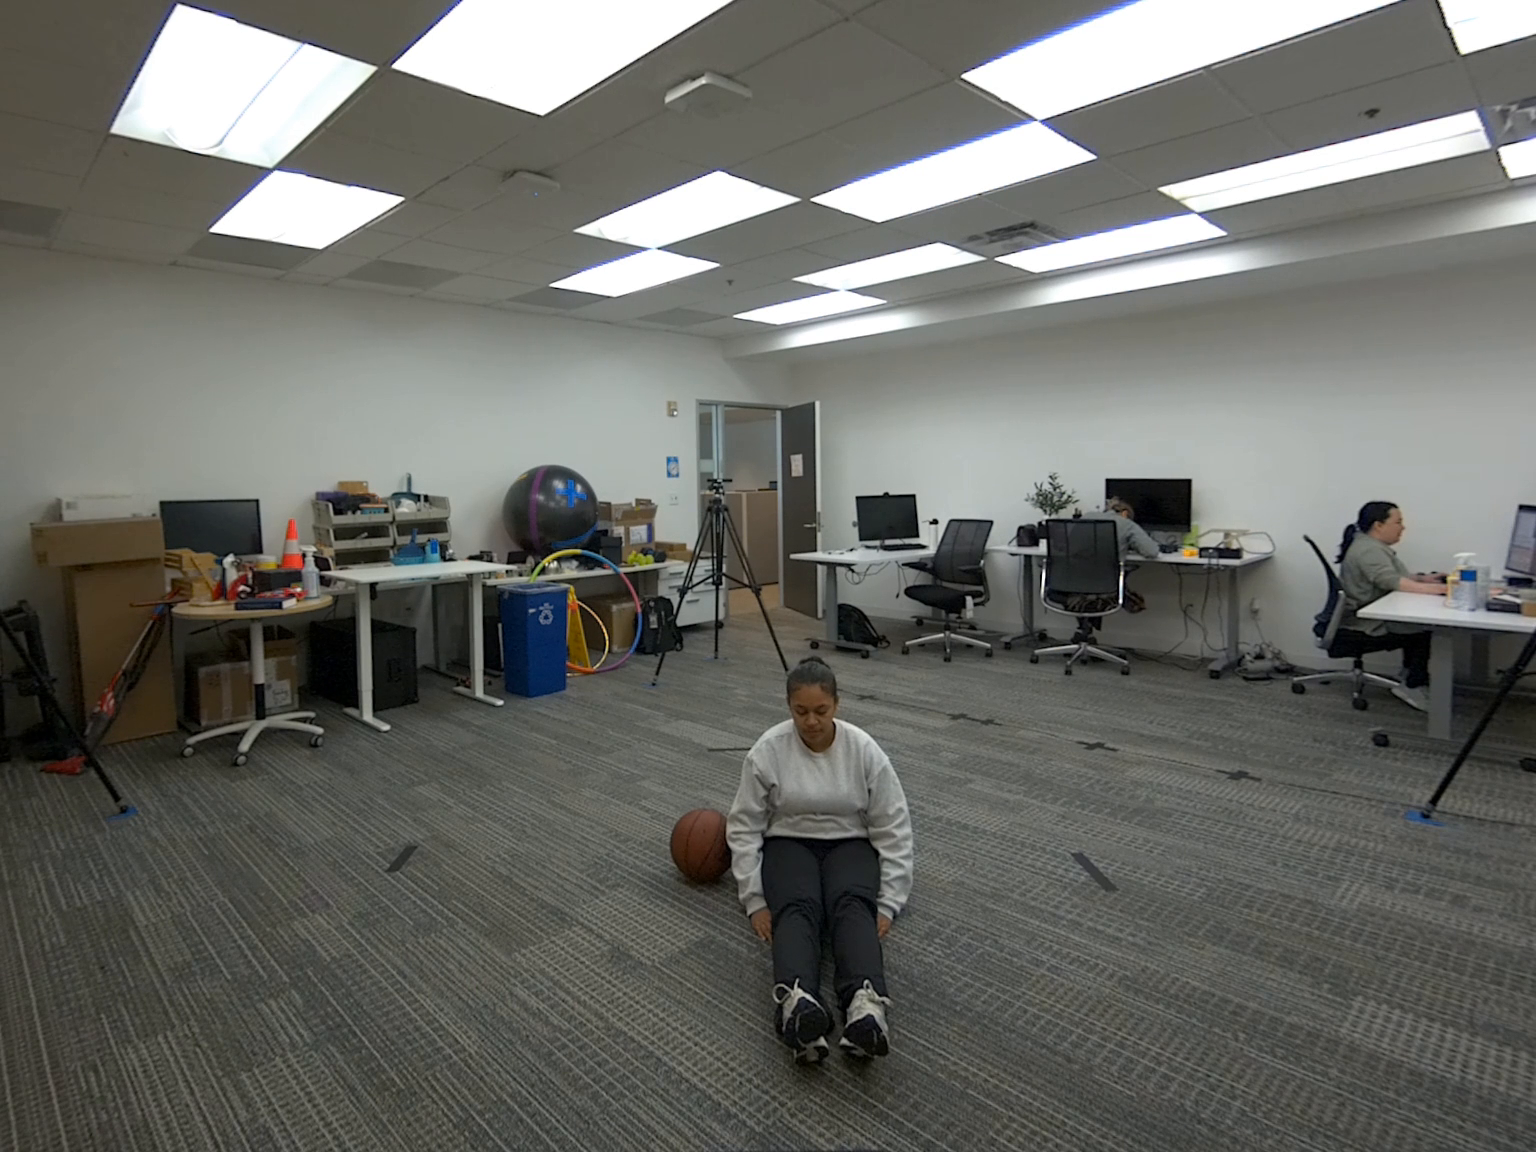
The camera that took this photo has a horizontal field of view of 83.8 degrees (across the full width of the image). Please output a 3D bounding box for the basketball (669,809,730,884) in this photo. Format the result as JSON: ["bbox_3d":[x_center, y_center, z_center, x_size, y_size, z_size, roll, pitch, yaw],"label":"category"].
[{"bbox_3d":[-0.223,0.938,3.000,0.236,0.235,0.237,-1,5,-2],"label":"basketball"}]
